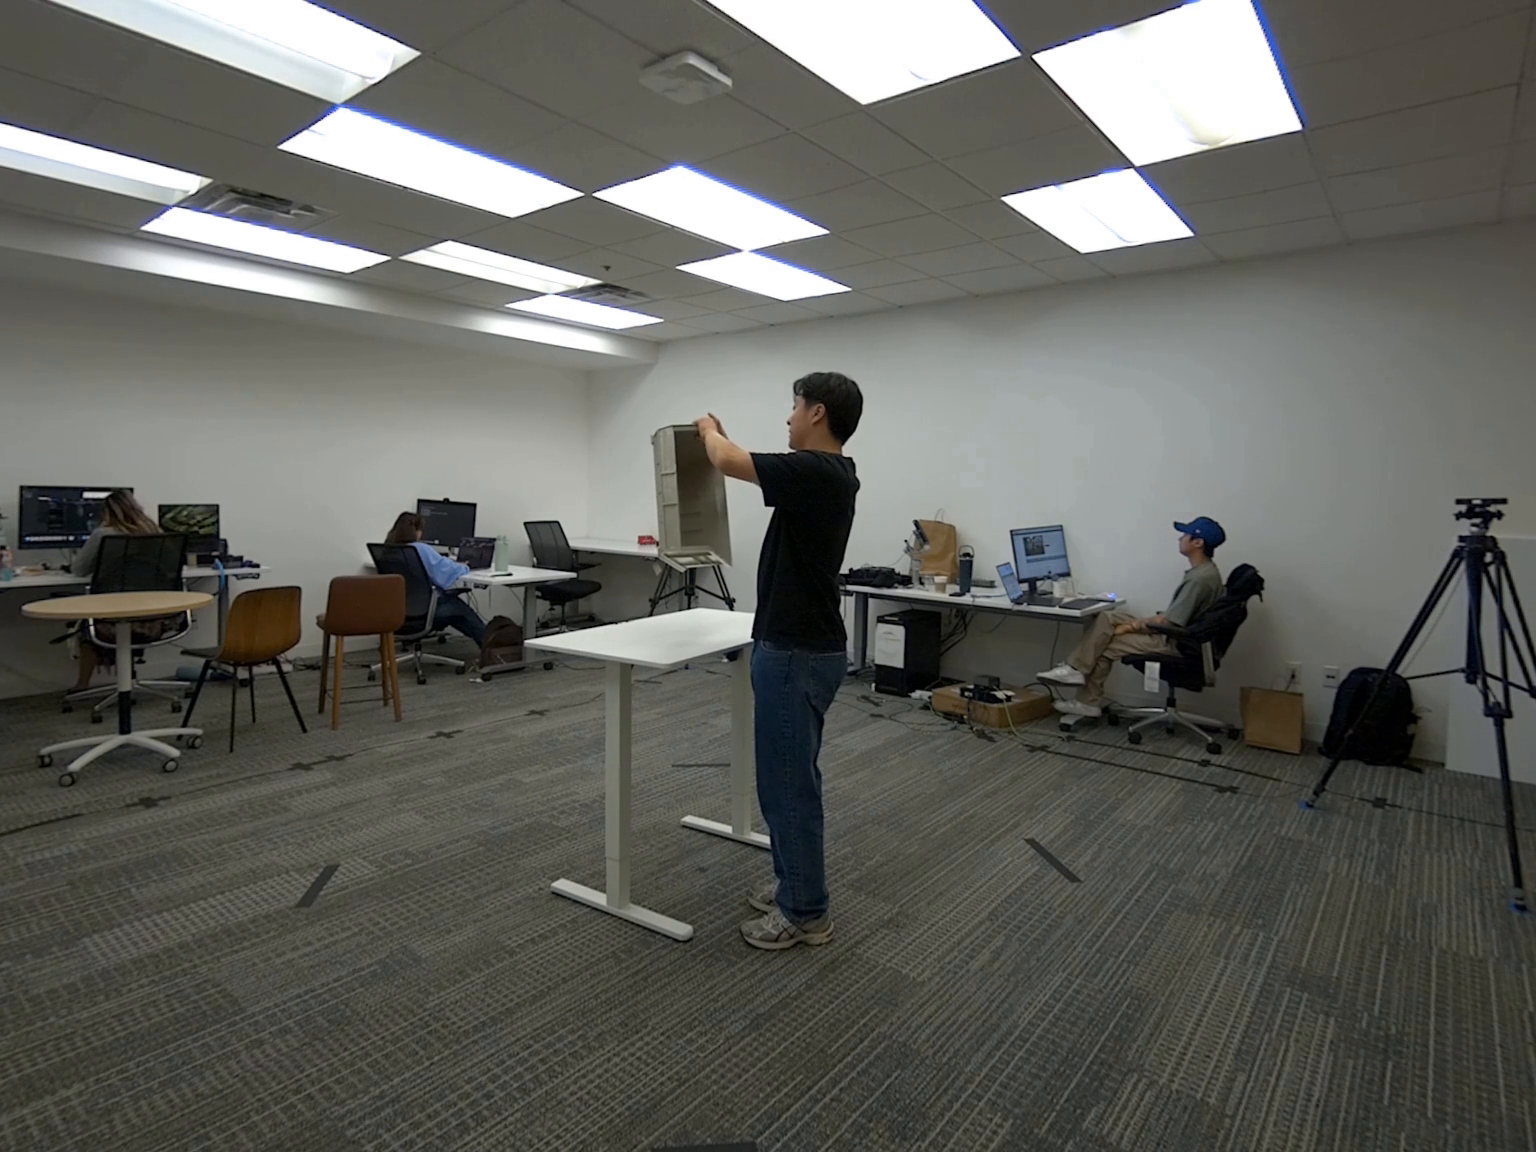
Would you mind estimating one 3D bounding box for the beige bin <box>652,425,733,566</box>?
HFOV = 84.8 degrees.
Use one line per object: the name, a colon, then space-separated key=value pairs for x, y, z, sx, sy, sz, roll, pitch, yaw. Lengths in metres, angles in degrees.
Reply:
beige bin: x=-0.260 y=-0.259 z=2.864 sx=0.190 sy=0.428 sz=0.371 roll=-7 pitch=-11 yaw=4
